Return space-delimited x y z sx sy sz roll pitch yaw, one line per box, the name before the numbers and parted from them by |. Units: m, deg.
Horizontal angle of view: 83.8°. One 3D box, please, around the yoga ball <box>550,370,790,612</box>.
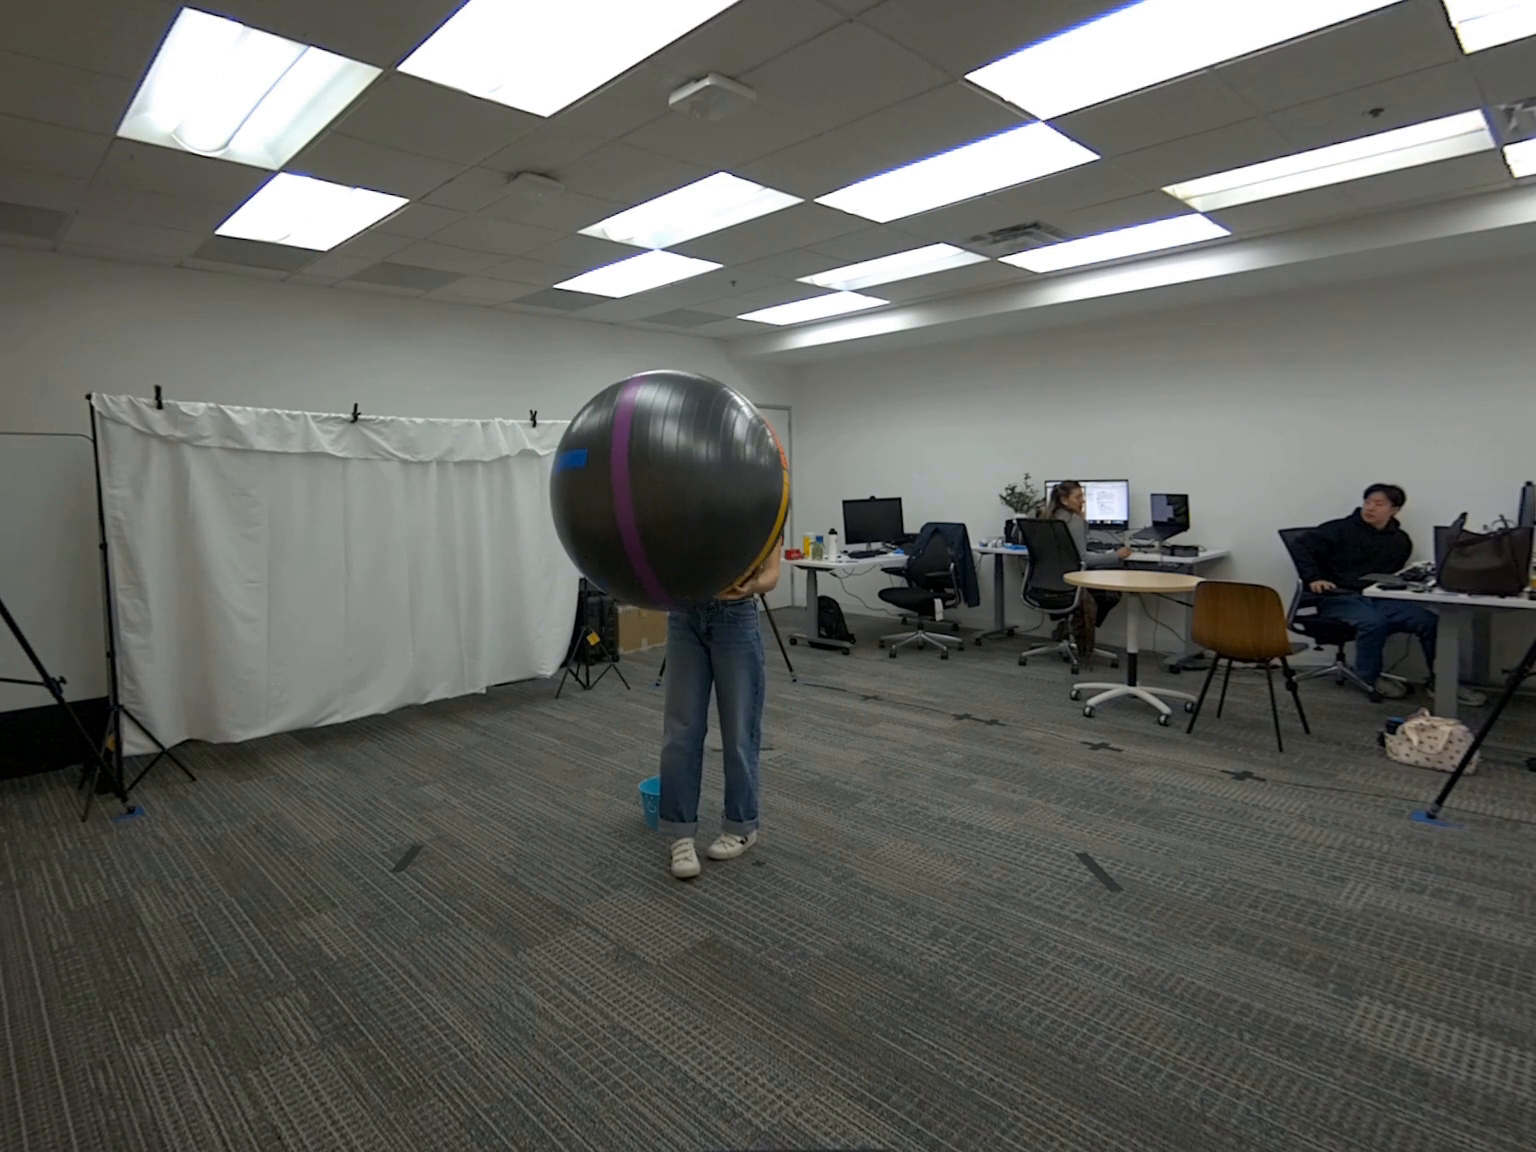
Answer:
yoga ball | -0.317 -0.264 2.720 0.757 0.755 0.762 -1 5 -2
